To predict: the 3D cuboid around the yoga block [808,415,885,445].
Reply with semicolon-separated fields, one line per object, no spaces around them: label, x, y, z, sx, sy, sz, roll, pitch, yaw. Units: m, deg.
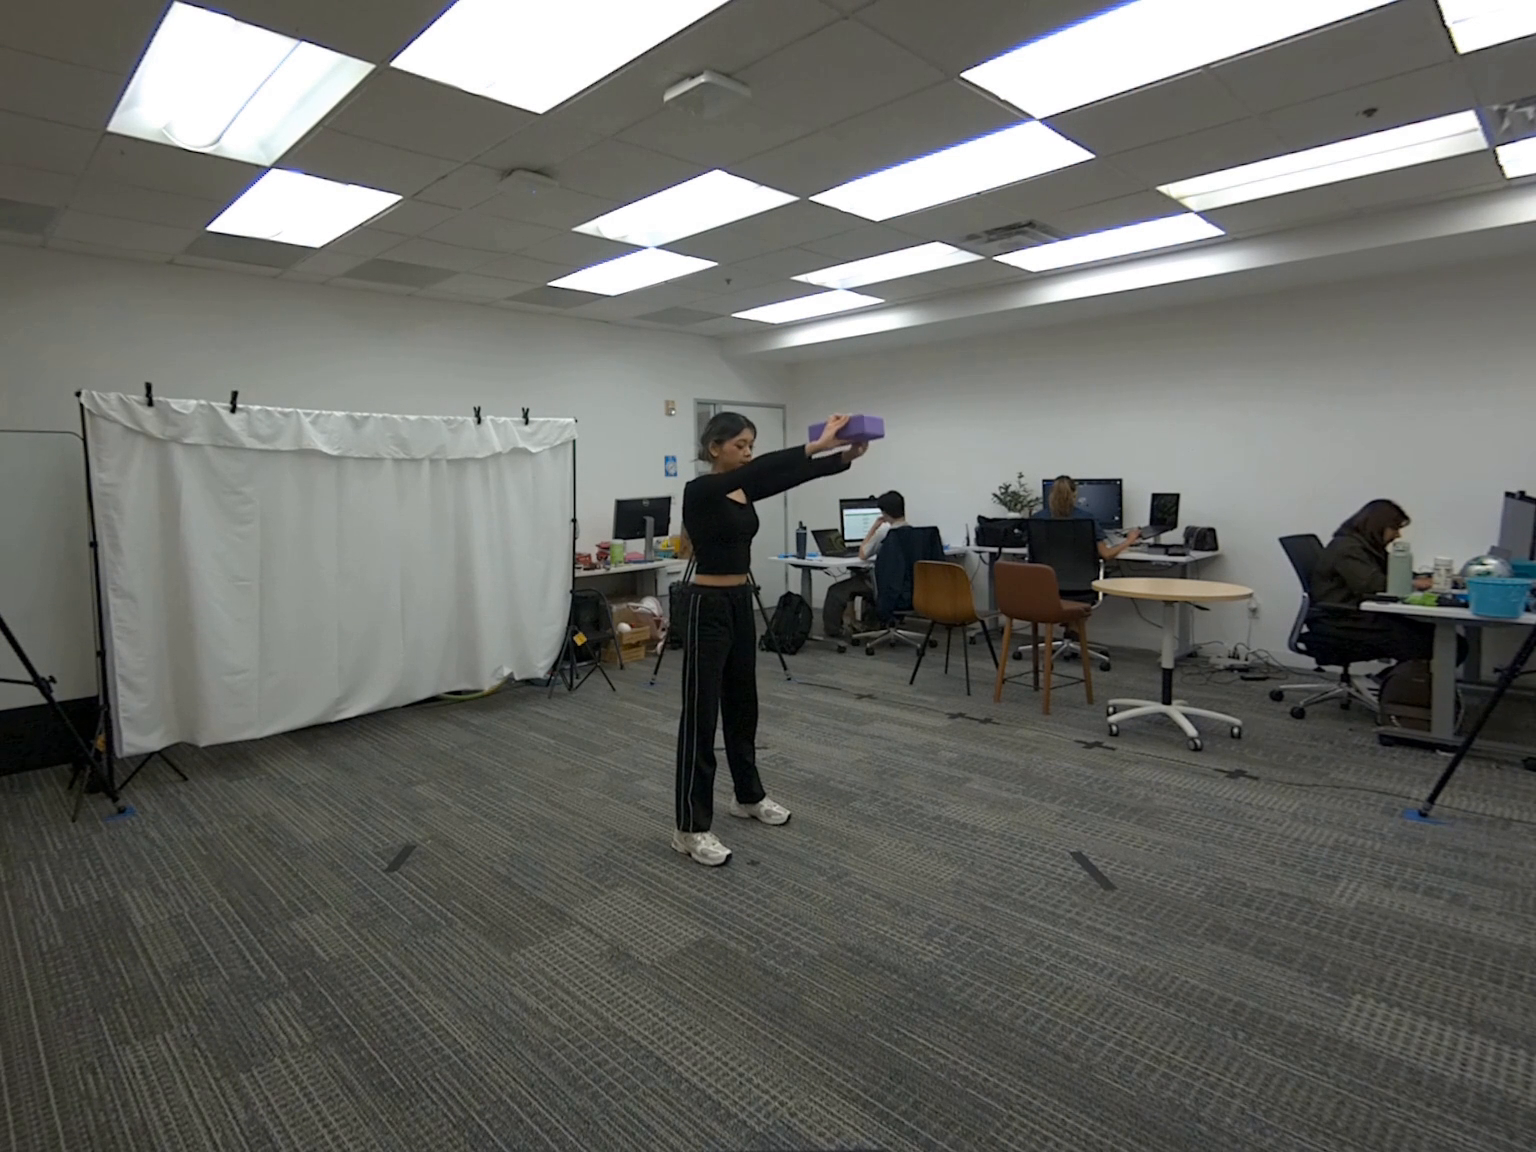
yoga block;0.278;-0.512;2.999;0.235;0.076;0.145;-3;1;32
